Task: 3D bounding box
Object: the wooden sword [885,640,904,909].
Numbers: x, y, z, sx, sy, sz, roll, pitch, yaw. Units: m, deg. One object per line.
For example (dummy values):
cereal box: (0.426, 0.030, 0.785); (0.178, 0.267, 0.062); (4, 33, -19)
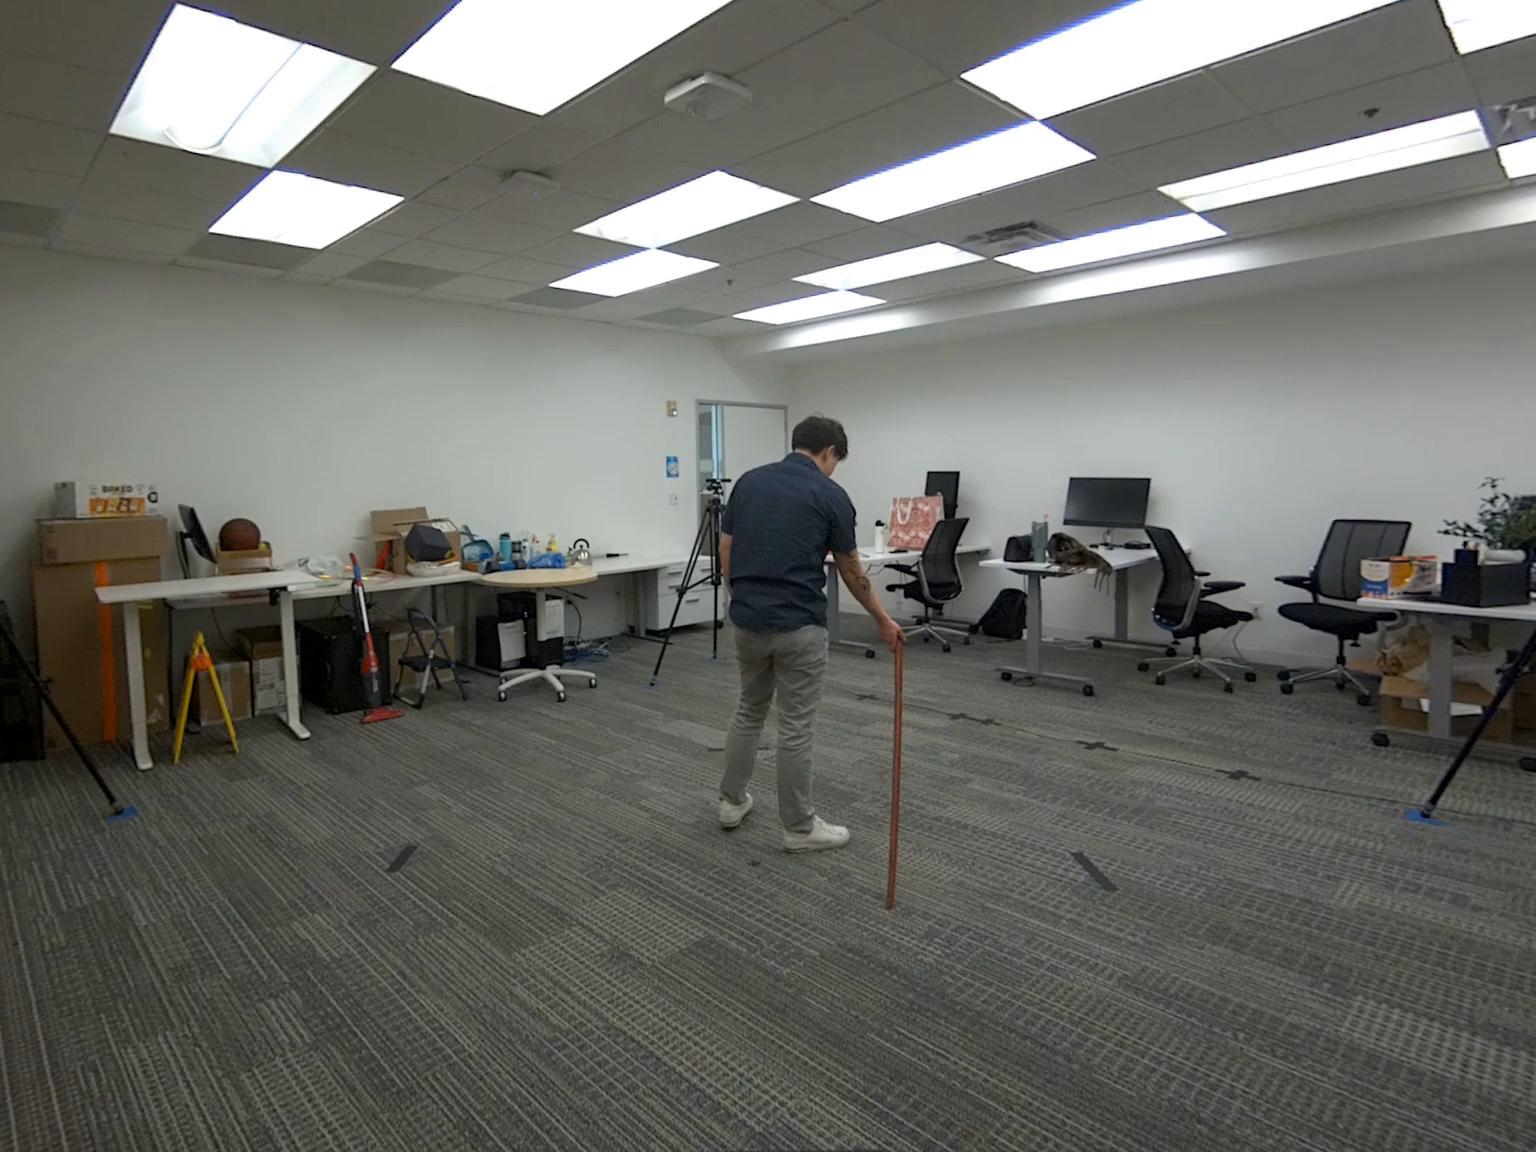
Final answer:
wooden sword: (0.460, 0.653, 3.038); (0.024, 1.044, 0.050); (15, -33, -7)
